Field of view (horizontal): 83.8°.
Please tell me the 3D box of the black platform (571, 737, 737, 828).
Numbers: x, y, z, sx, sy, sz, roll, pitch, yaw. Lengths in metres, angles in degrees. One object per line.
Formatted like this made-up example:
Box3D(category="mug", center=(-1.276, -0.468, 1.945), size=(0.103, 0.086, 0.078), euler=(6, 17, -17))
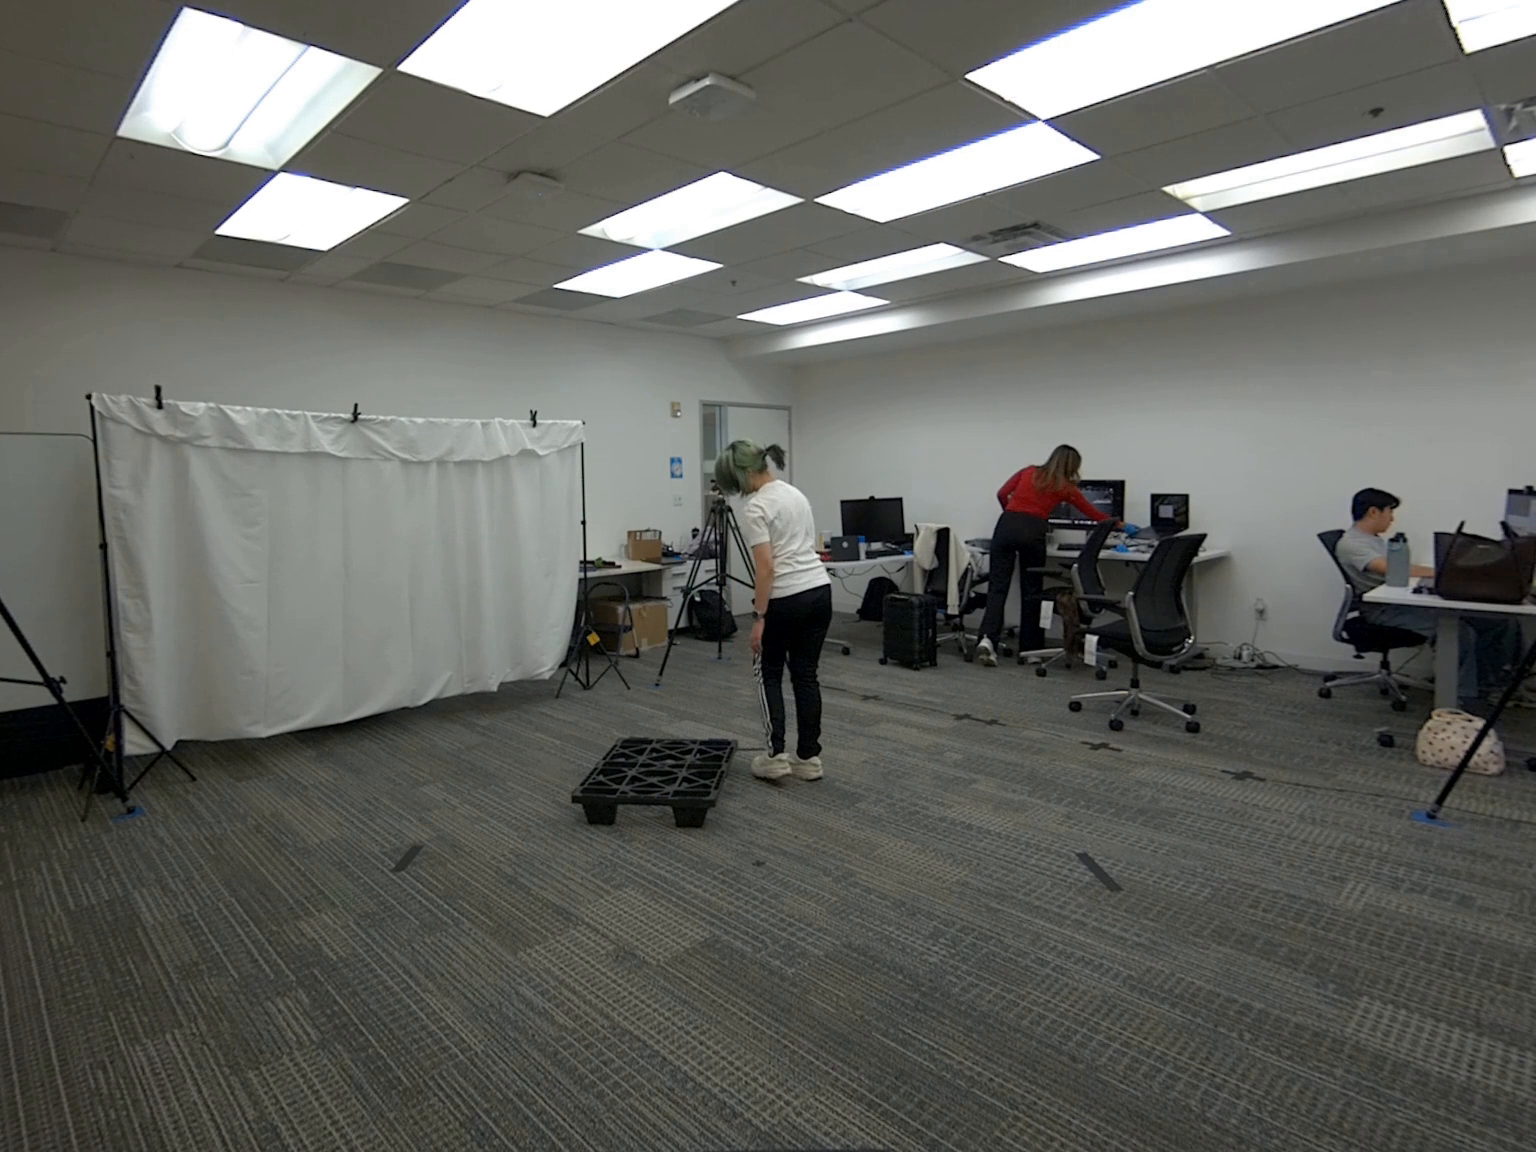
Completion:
Box3D(category="black platform", center=(-0.474, 0.908, 3.824), size=(0.609, 0.143, 0.803), euler=(-2, 6, 6))
